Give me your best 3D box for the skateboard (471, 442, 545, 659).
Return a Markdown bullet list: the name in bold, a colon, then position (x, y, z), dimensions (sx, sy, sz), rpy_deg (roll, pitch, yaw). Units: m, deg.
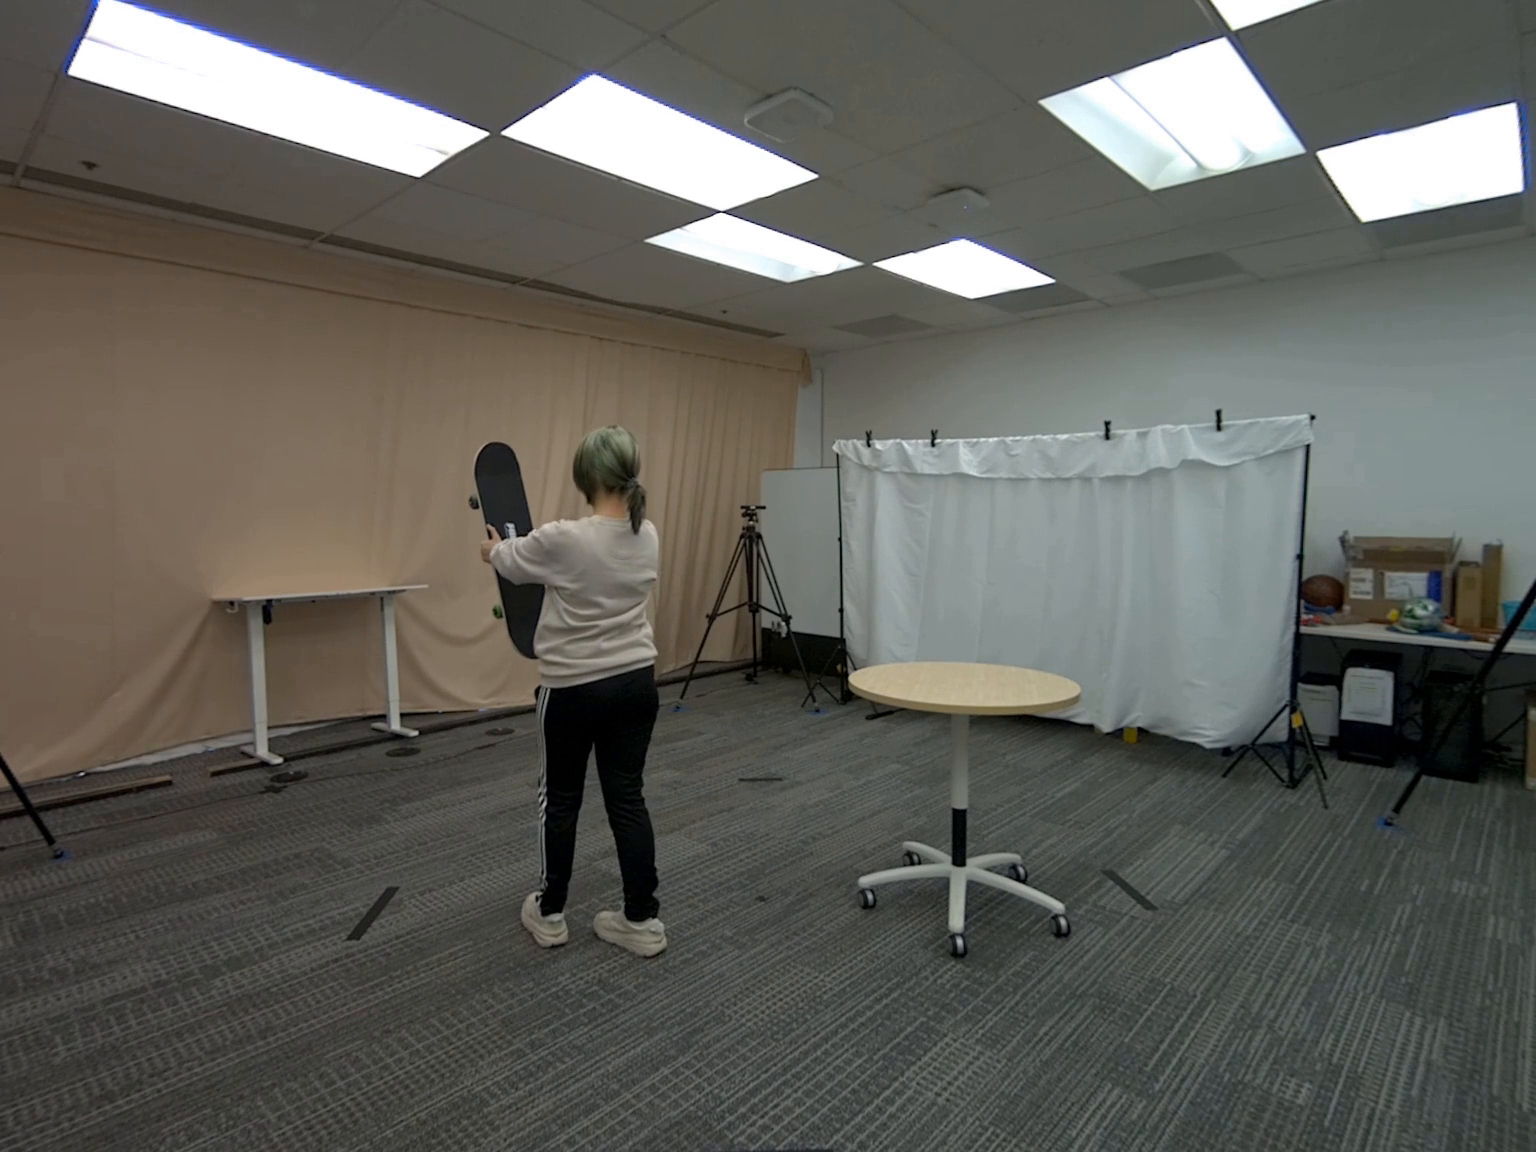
- **skateboard**: position (-0.922, -0.085, 3.024), dimensions (0.113, 0.783, 0.188), rpy_deg (-8, 5, 41)
